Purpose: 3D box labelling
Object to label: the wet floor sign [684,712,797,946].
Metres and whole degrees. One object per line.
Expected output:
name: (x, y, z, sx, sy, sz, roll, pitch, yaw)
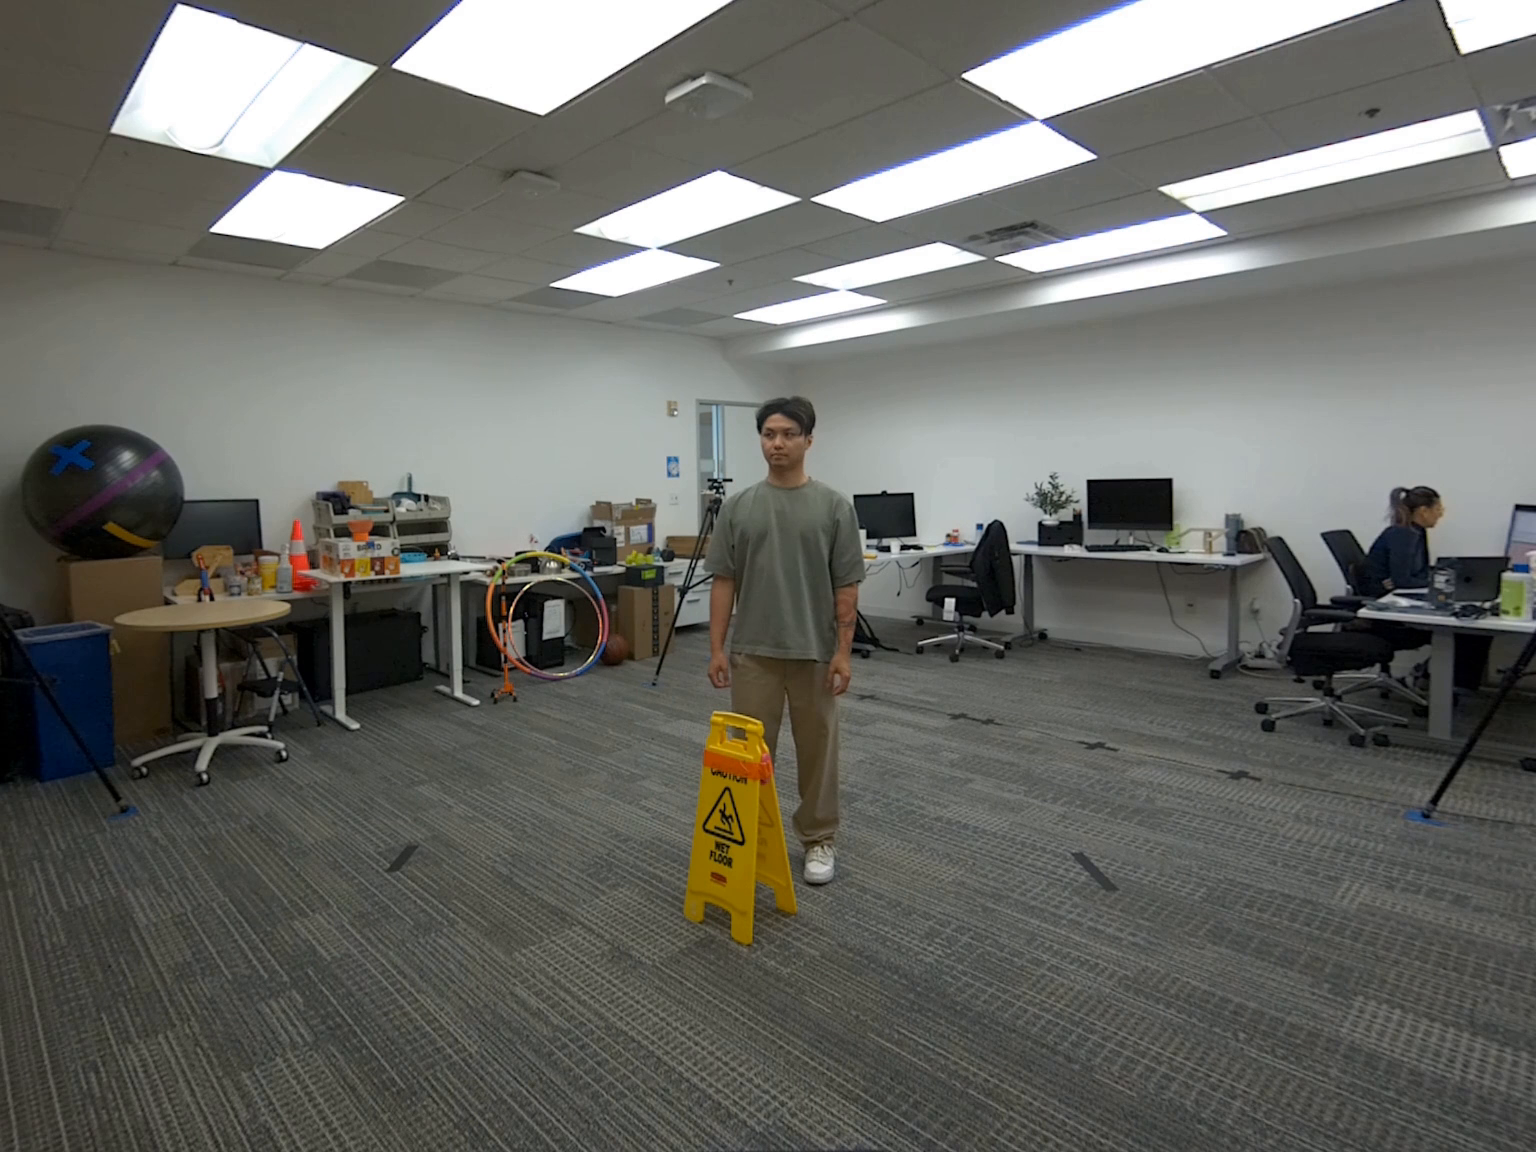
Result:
wet floor sign: (-0.088, 0.768, 2.719, 0.291, 0.643, 0.282, 4, 6, 40)
